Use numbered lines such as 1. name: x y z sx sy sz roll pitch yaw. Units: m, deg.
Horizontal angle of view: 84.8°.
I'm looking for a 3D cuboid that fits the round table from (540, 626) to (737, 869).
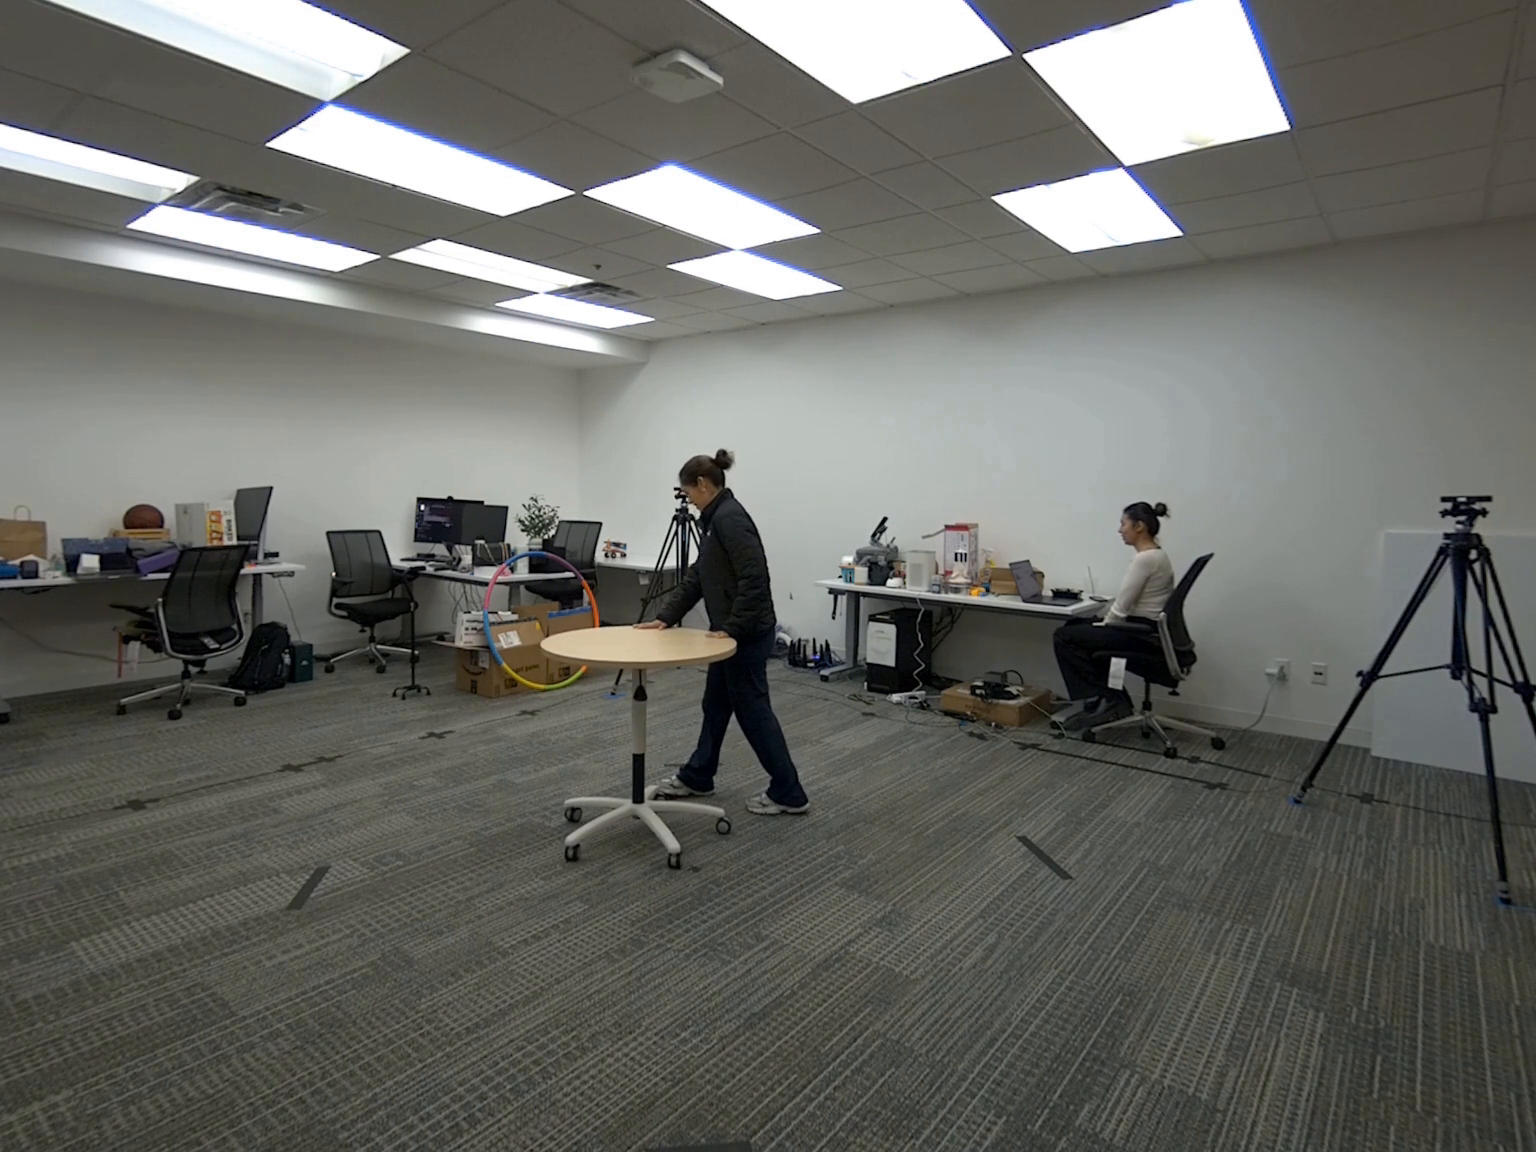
1. round table: -0.491 0.641 3.395 0.784 0.784 0.789 1 4 -2
